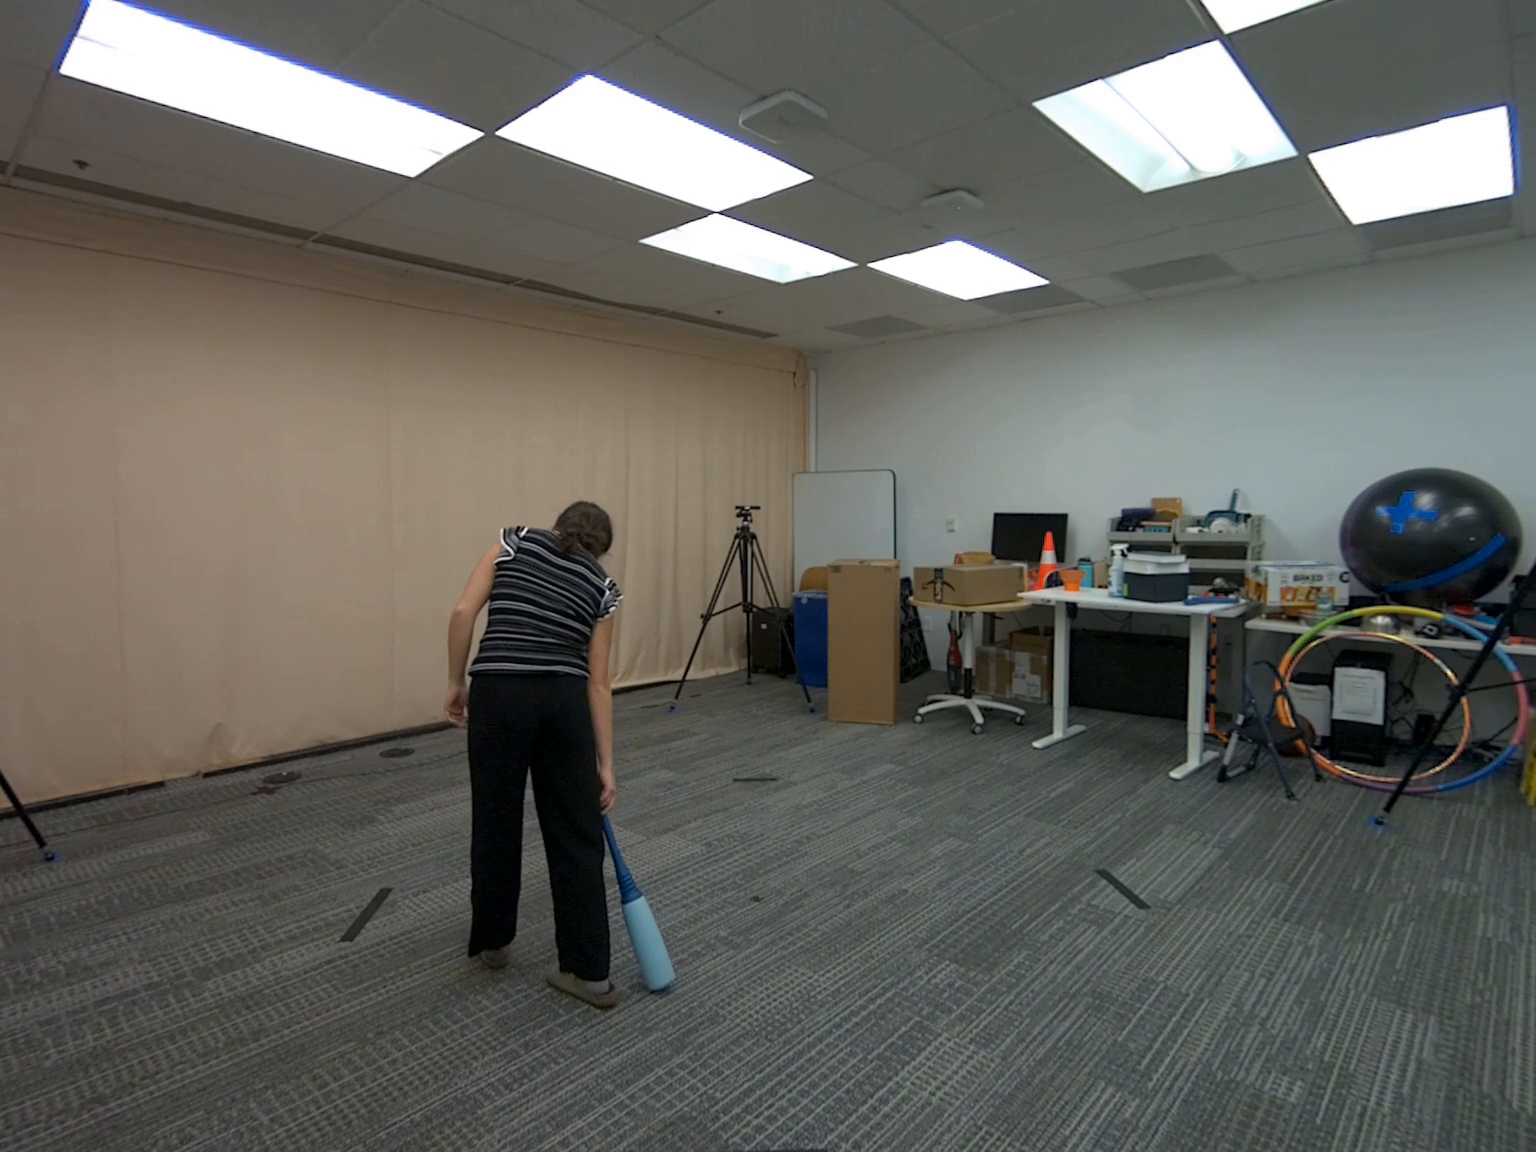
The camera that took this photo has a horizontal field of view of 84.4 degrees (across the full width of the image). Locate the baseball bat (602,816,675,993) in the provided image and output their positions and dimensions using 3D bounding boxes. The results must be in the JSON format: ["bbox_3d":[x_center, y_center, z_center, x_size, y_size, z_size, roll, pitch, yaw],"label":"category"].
[{"bbox_3d":[-0.407,0.938,2.468,0.089,0.549,0.088,-21,-11,-6],"label":"baseball bat"}]
